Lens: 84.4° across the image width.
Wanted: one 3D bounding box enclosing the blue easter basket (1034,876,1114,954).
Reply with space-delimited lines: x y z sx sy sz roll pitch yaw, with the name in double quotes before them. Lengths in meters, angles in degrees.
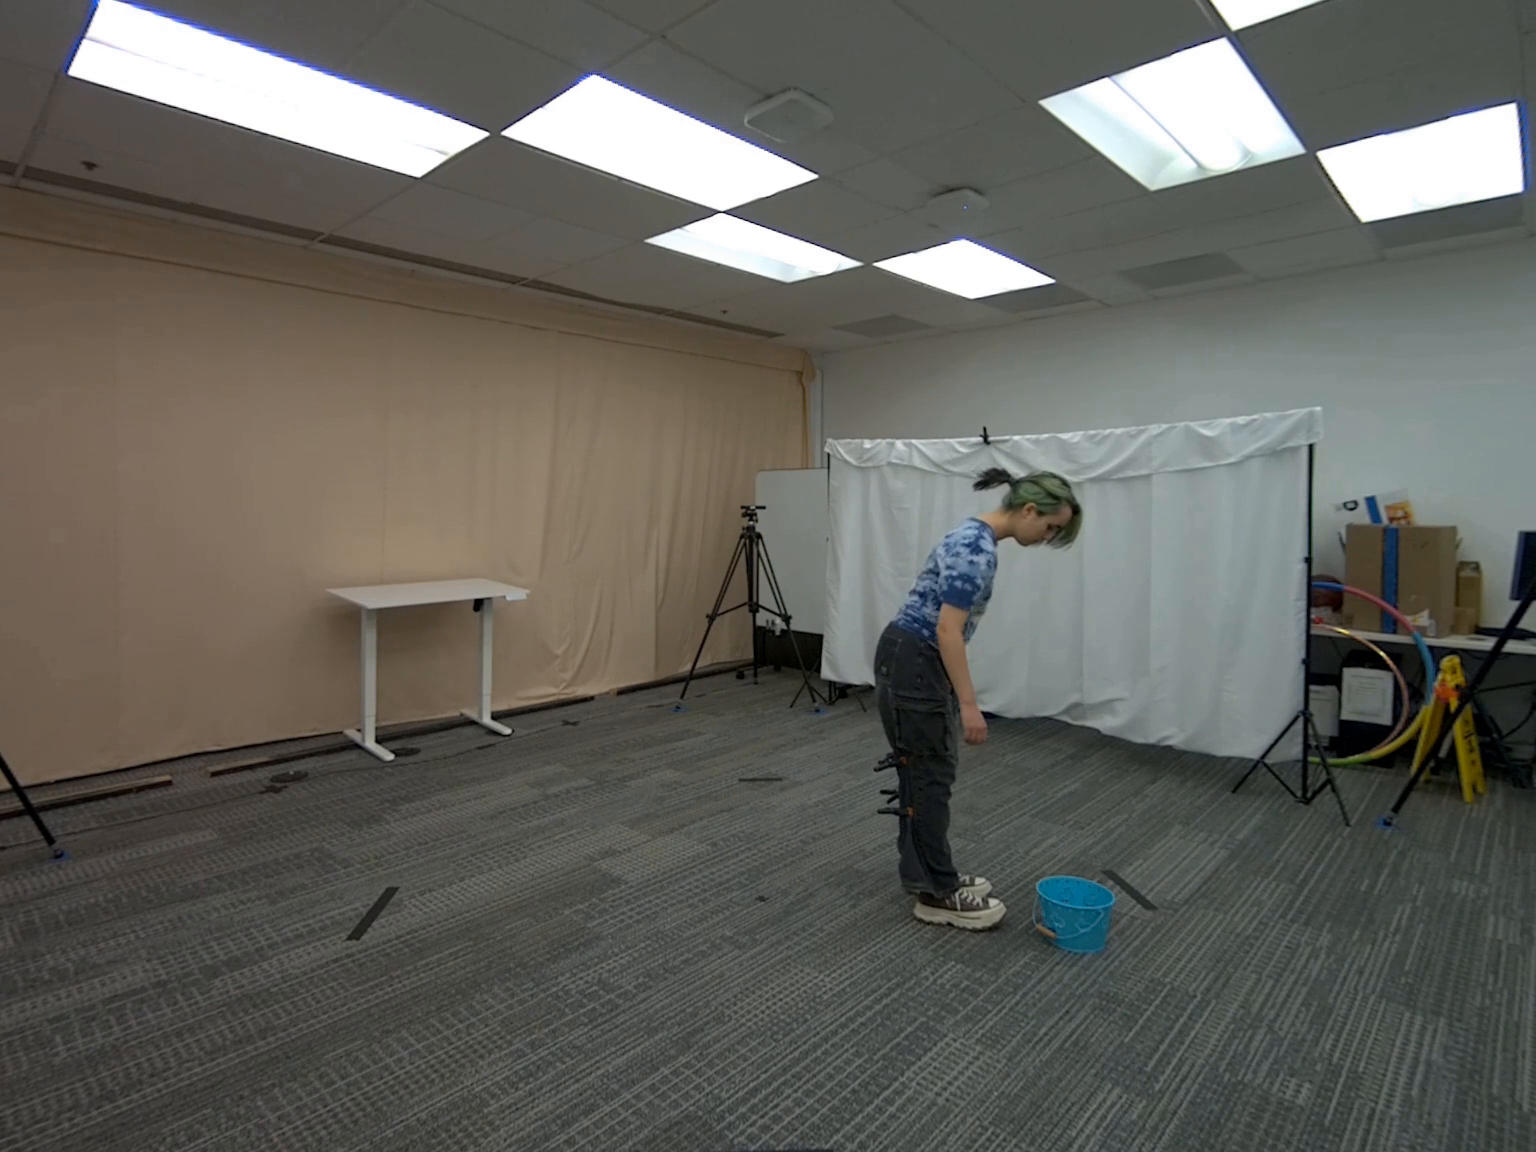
"blue easter basket" 0.989 1.088 2.703 0.243 0.155 0.244 0 4 -2
